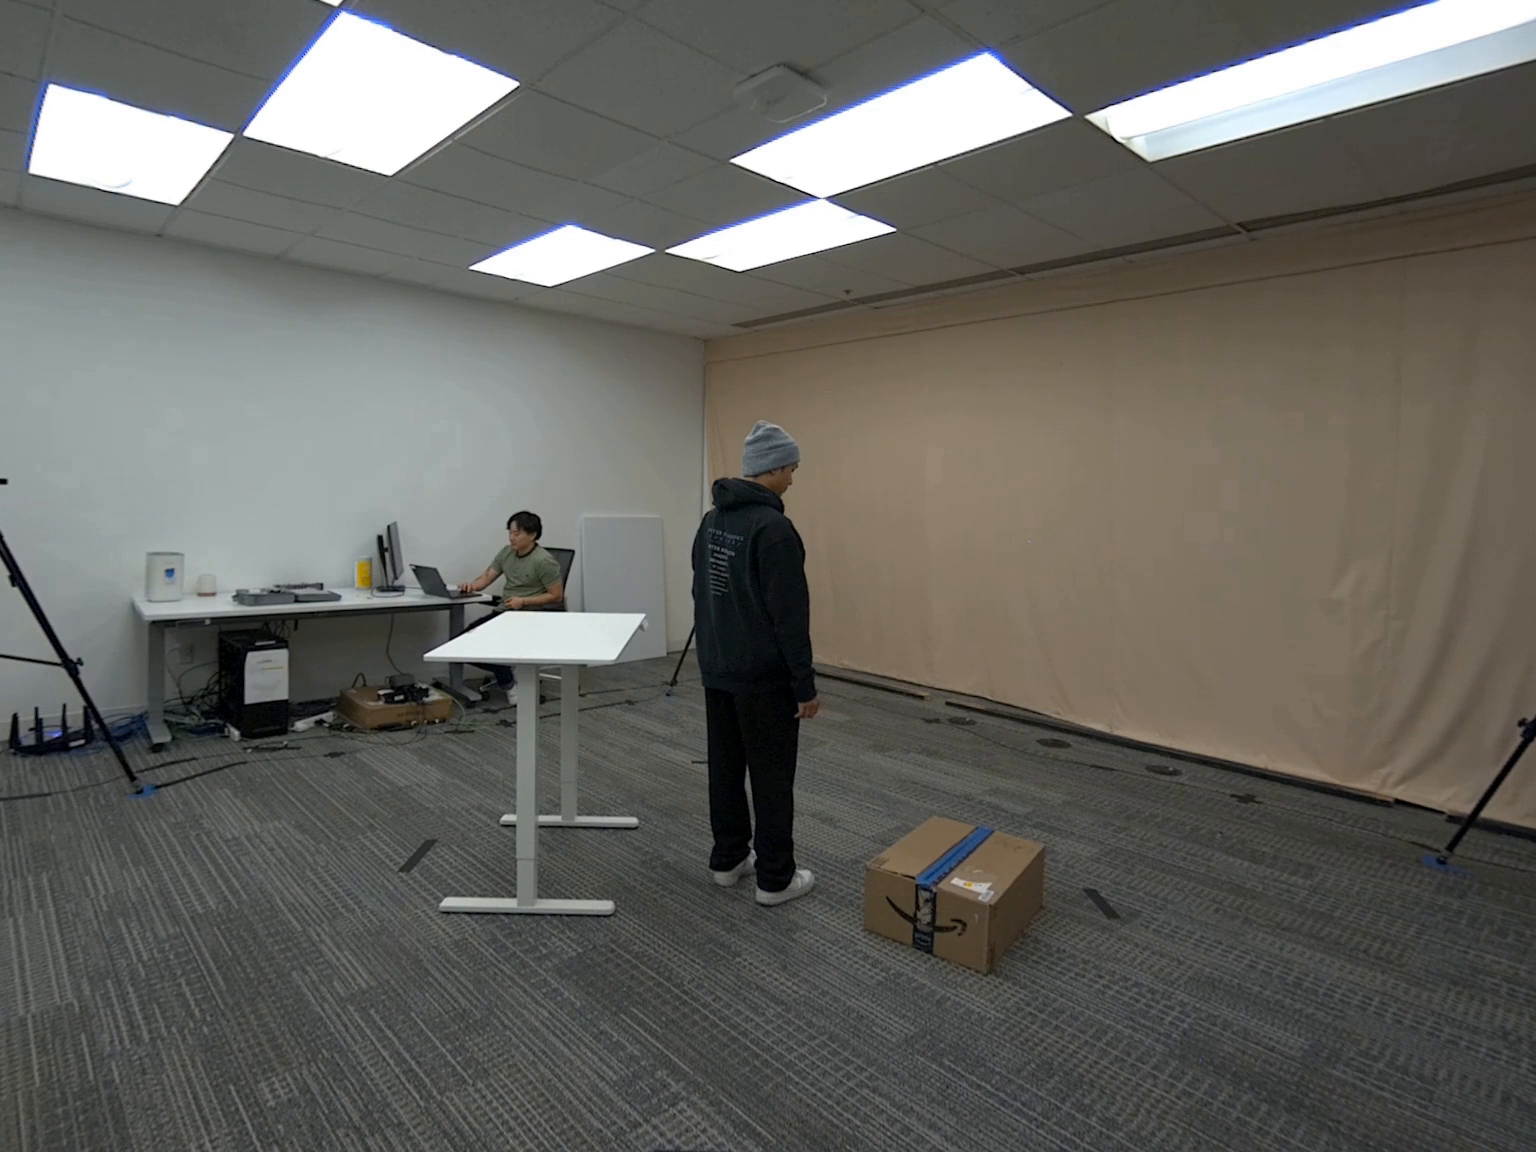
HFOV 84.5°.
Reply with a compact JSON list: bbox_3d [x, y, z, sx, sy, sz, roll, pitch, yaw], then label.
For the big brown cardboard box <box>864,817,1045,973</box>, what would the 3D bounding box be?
[{"bbox_3d":[0.628,1.041,2.827,0.427,0.232,0.576,5,5,34],"label":"big brown cardboard box"}]
